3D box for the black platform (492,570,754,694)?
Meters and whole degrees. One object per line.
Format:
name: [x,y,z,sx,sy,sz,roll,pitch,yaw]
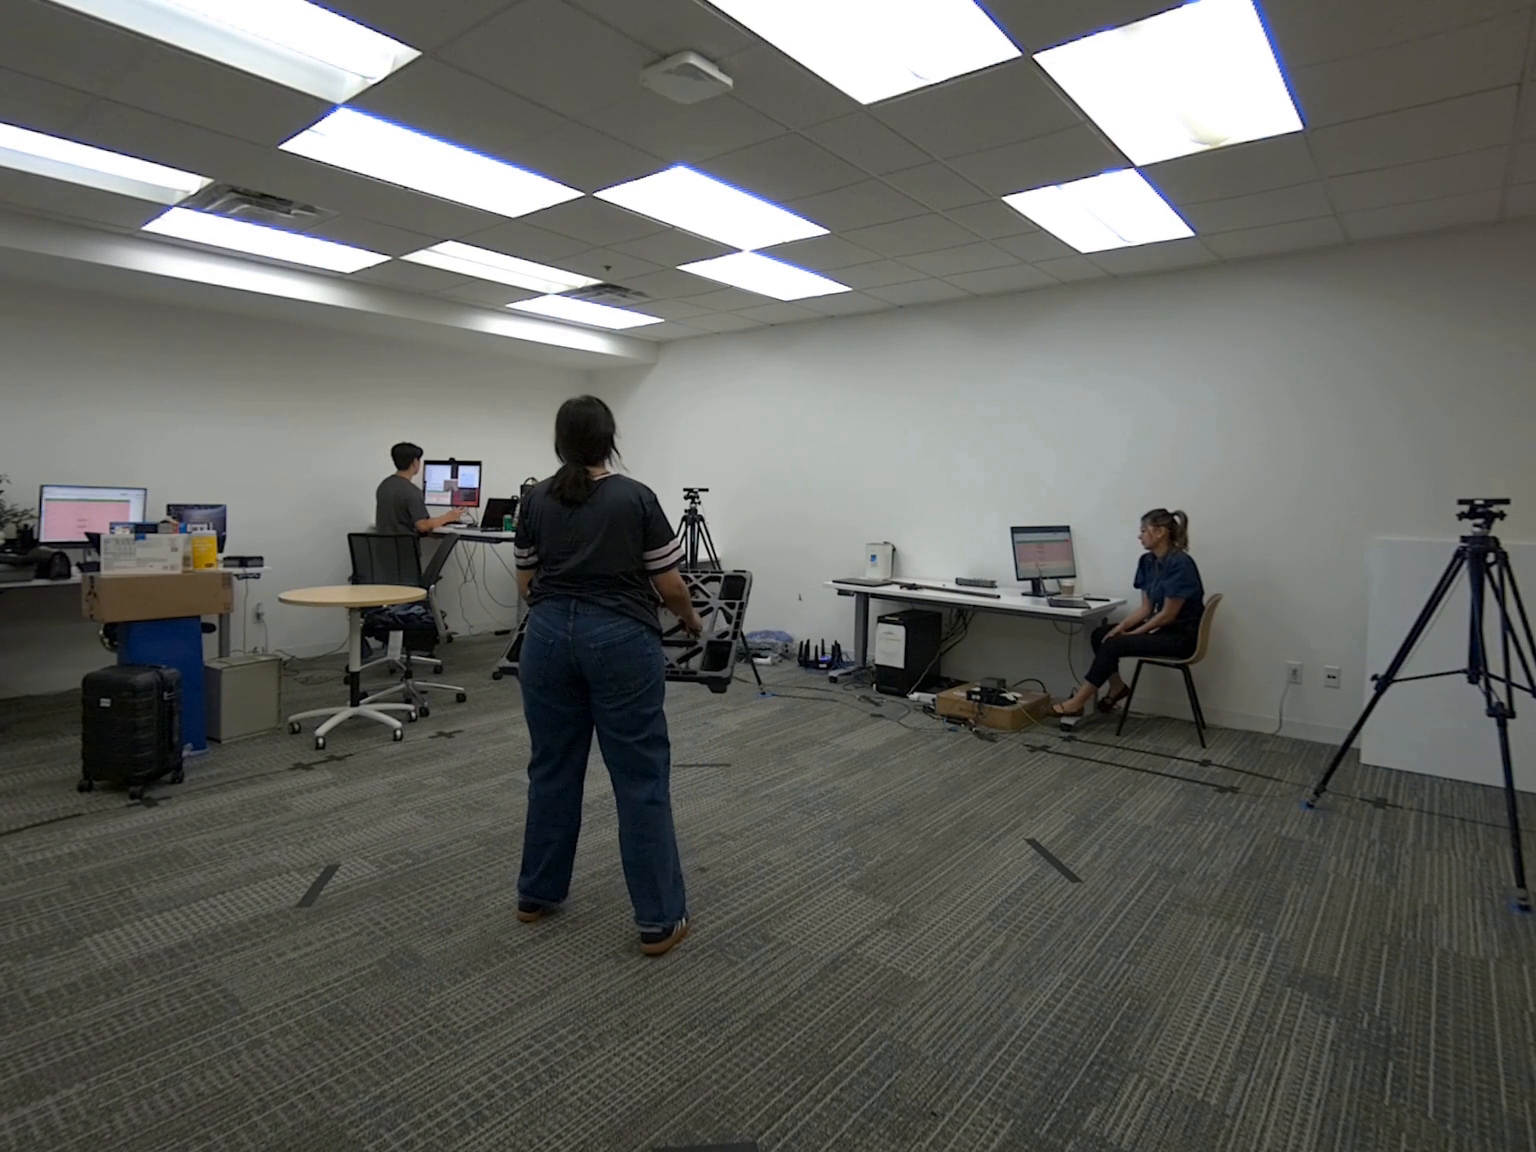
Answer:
black platform: [-0.494,0.188,3.072,0.814,0.139,0.616,1,34,9]
